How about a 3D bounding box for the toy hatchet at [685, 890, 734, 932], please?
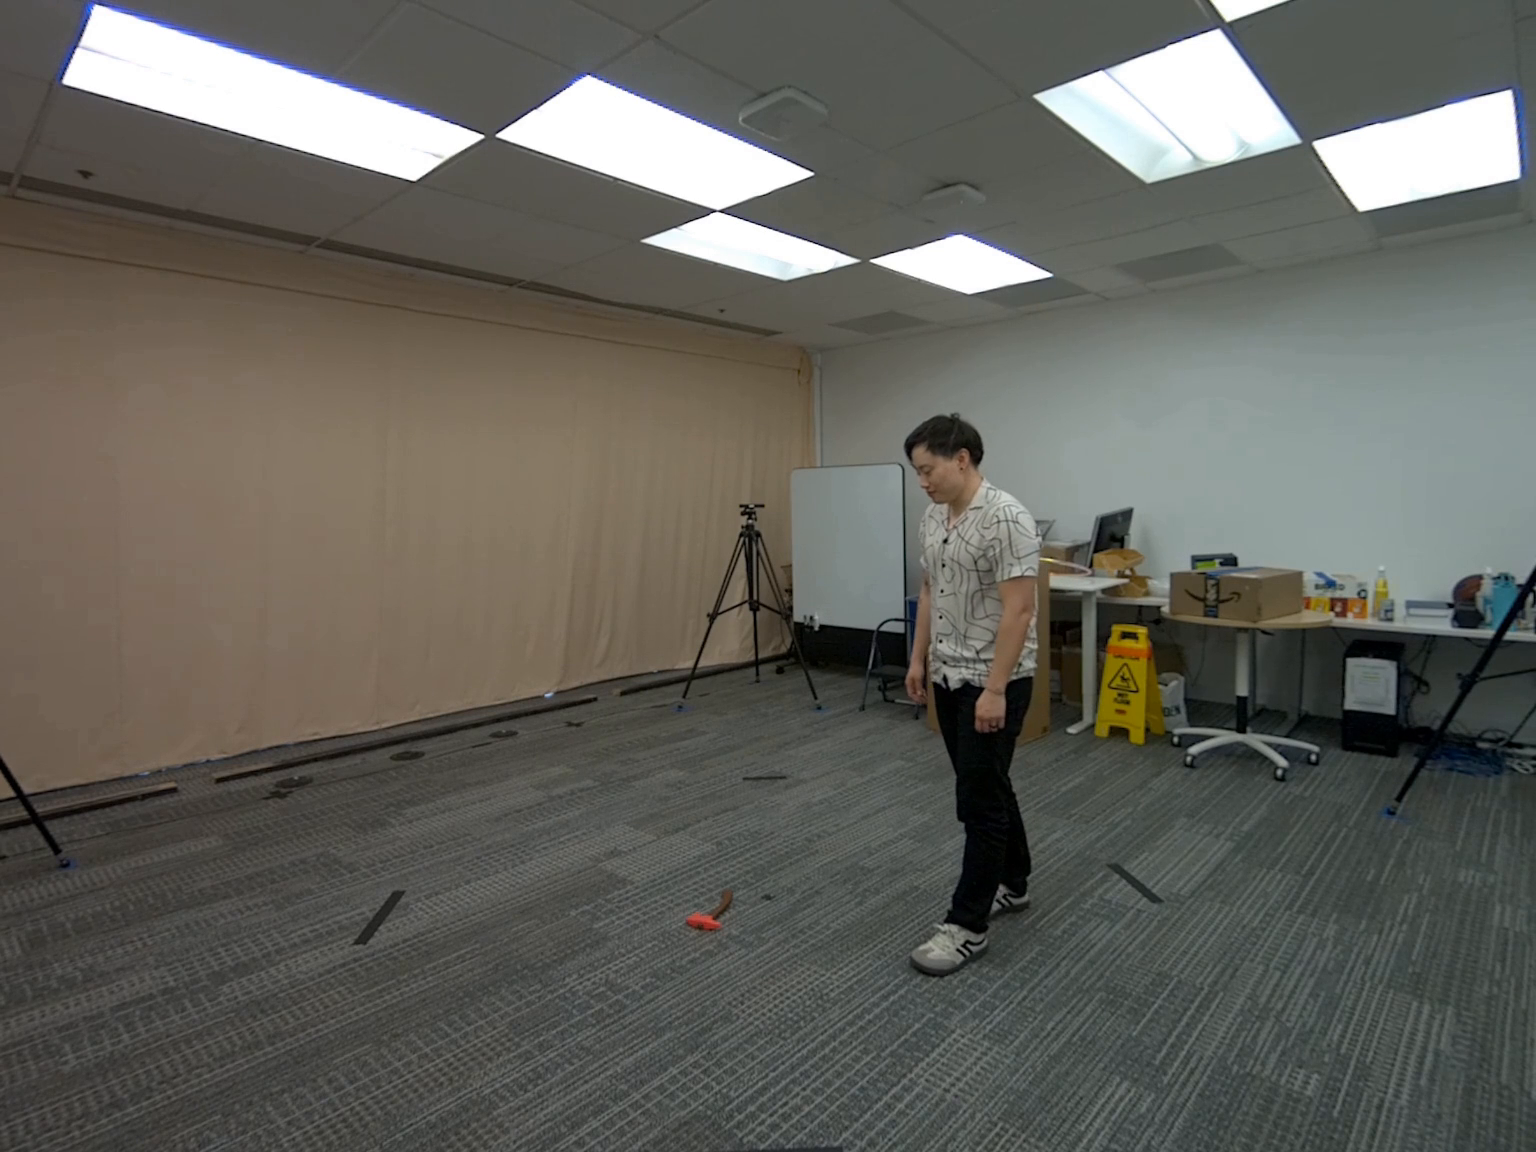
[{"bbox_3d":[-0.203,1.145,2.884,0.132,0.029,0.268,-5,2,8],"label":"toy hatchet"}]
